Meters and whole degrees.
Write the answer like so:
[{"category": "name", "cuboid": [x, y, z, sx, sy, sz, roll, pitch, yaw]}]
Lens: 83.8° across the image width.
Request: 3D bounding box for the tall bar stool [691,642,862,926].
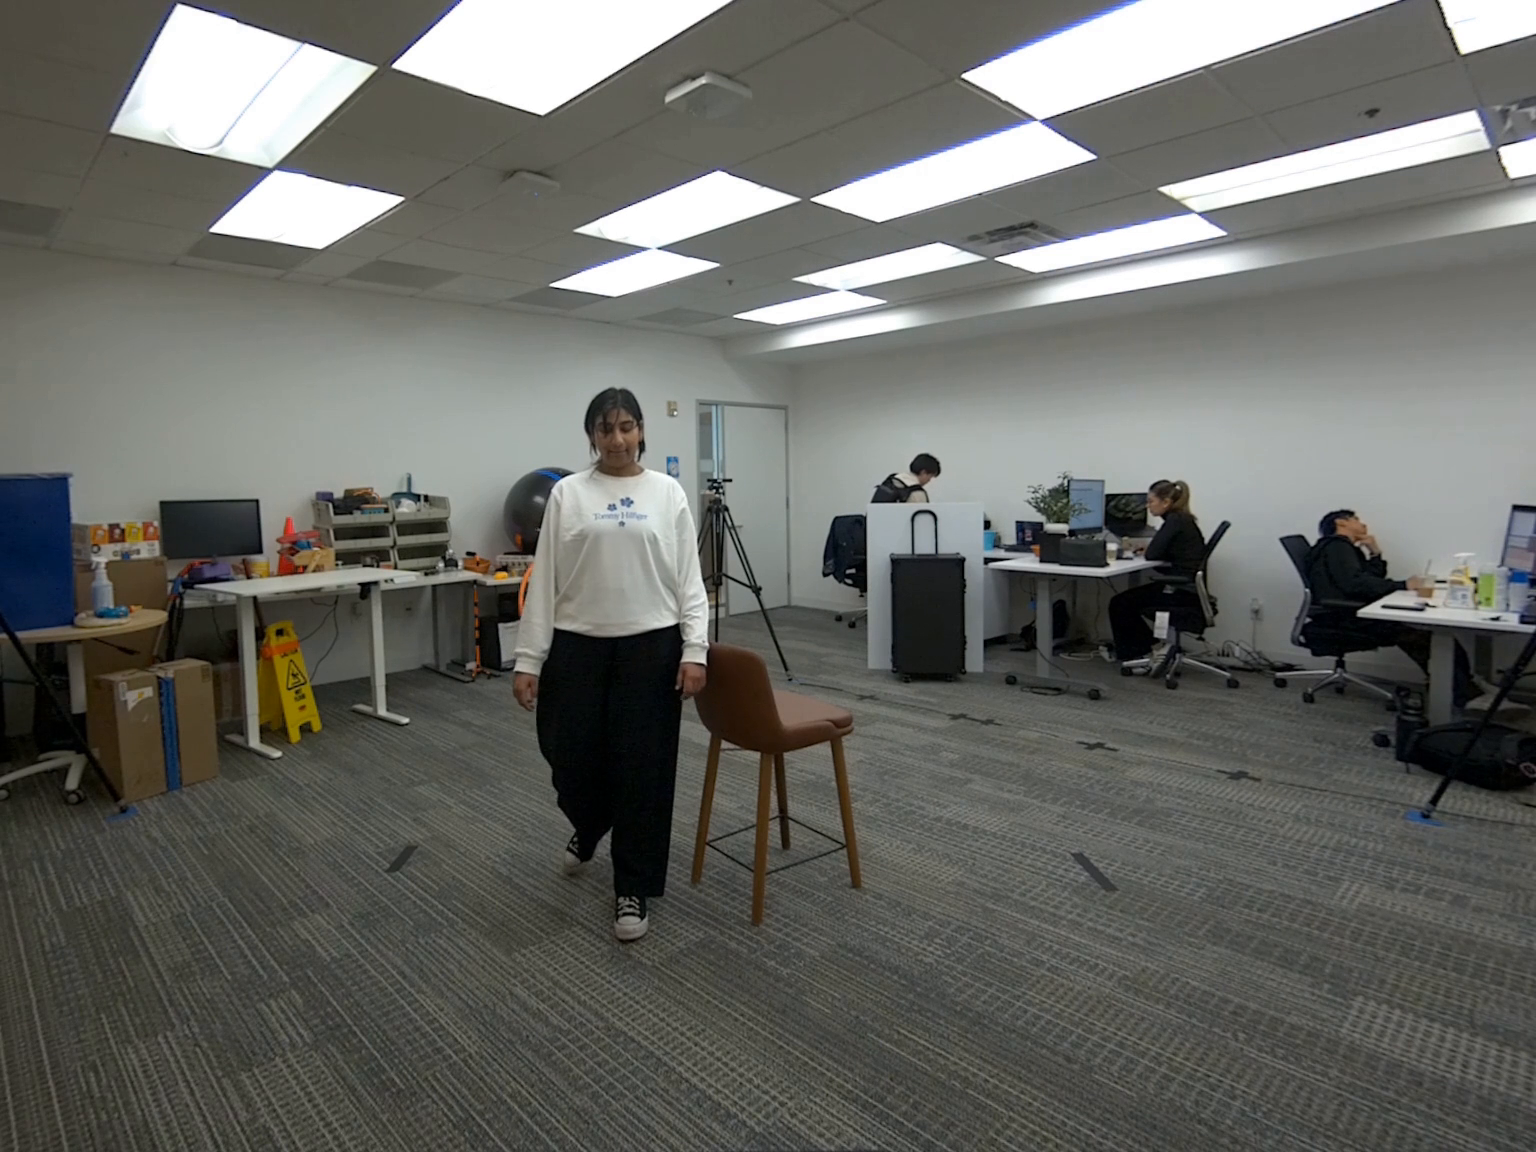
[{"category": "tall bar stool", "cuboid": [0.010, 0.627, 2.923, 0.456, 0.885, 0.470, -7, 7, -37]}]
